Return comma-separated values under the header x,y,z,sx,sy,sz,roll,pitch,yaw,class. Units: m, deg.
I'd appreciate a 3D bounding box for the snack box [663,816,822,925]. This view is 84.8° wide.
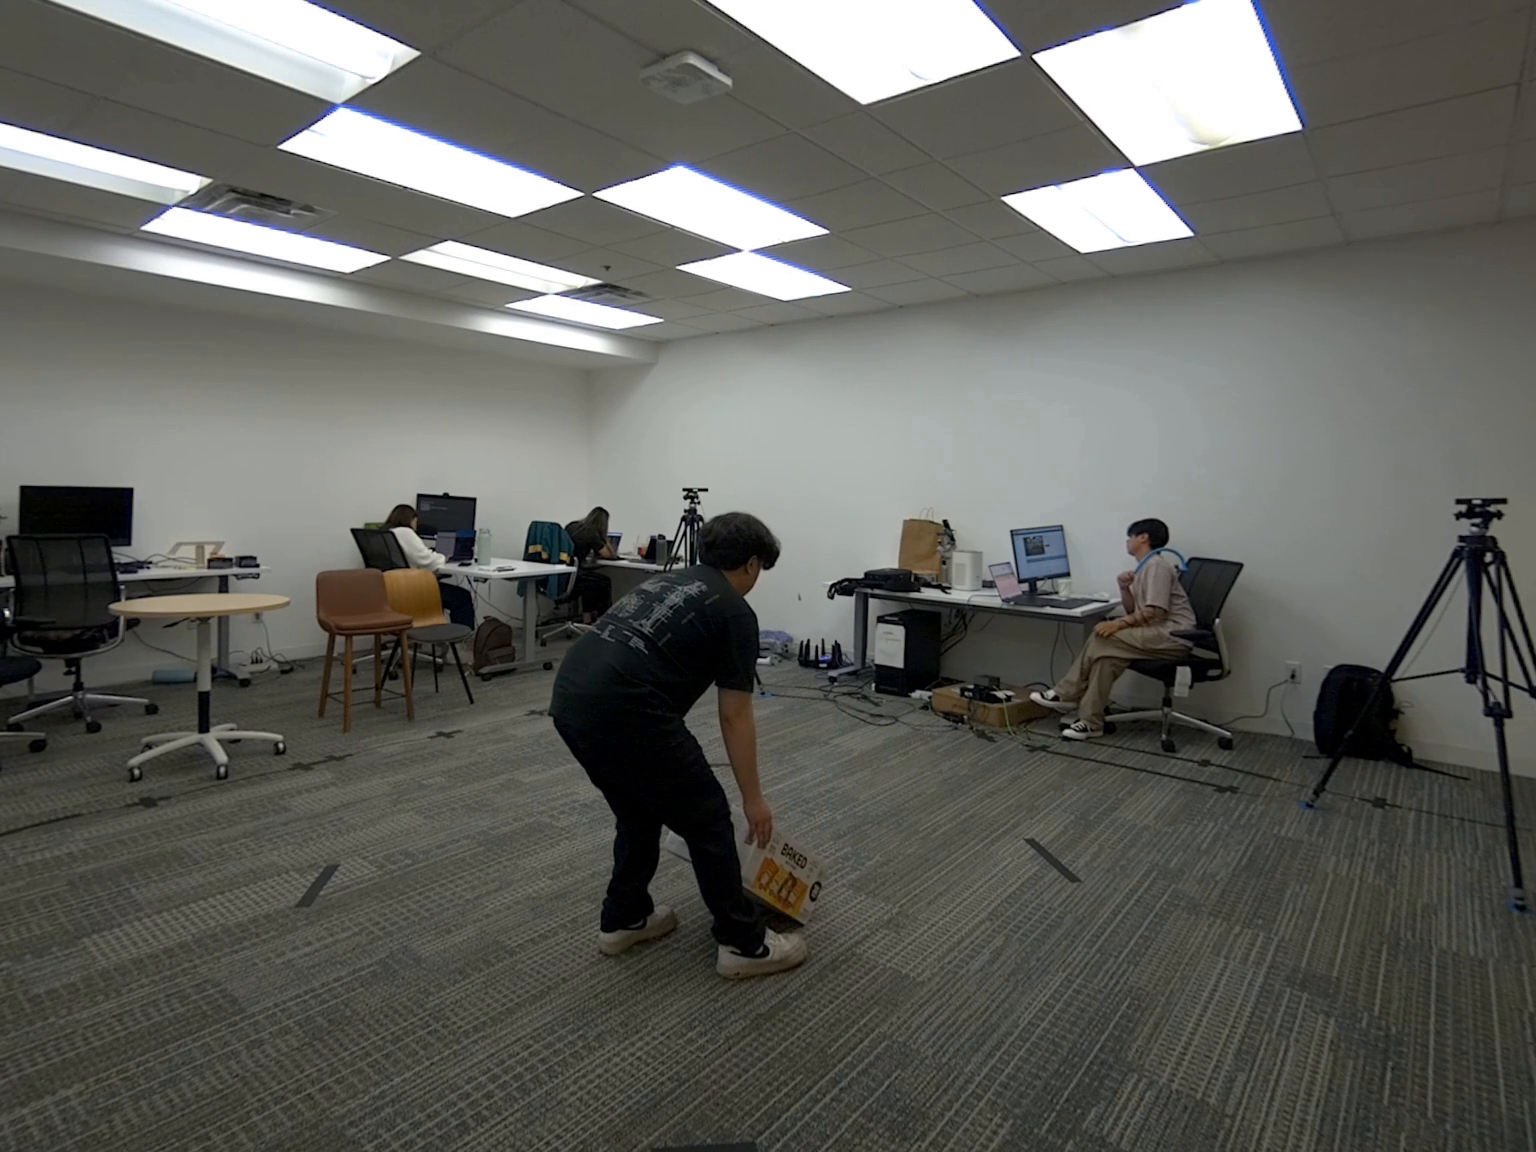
x,y,z,sx,sy,sz,roll,pitch,yaw,class
-0.072,0.910,2.747,0.352,0.207,0.389,5,-31,43,snack box
